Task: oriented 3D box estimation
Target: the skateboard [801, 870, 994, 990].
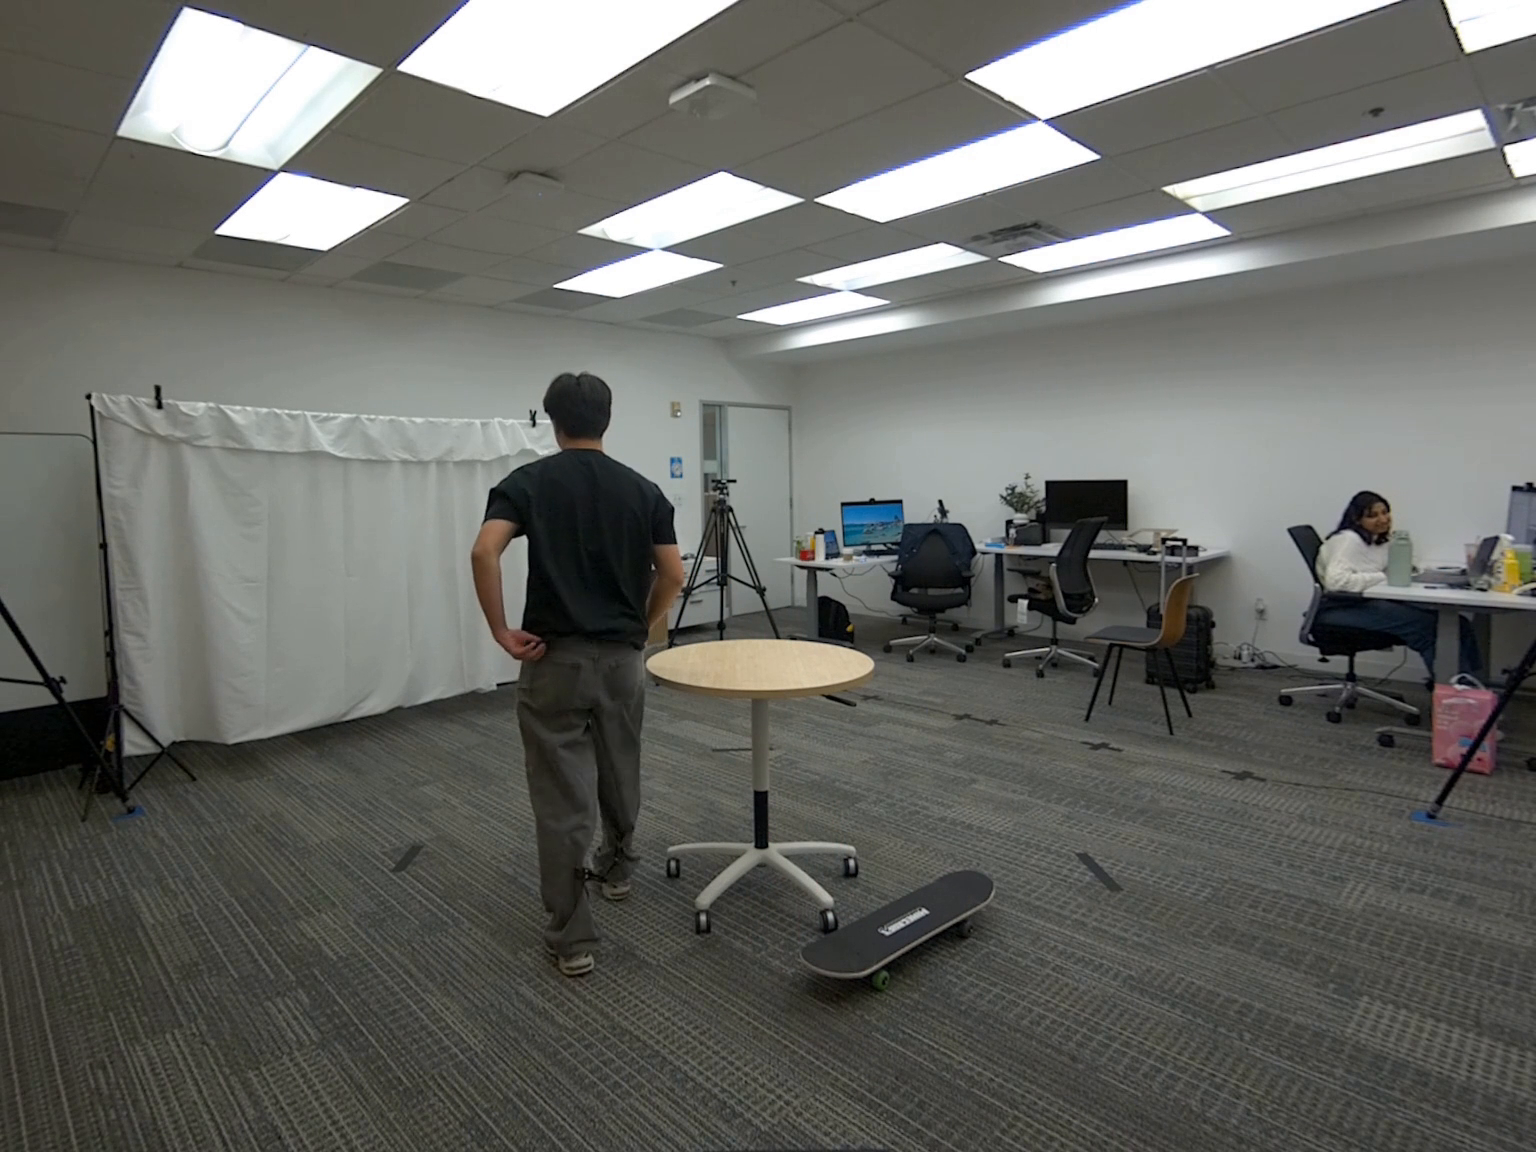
[{"bbox_3d":[0.406,1.049,2.516,0.765,0.110,0.199,-7,8,-40],"label":"skateboard"}]
